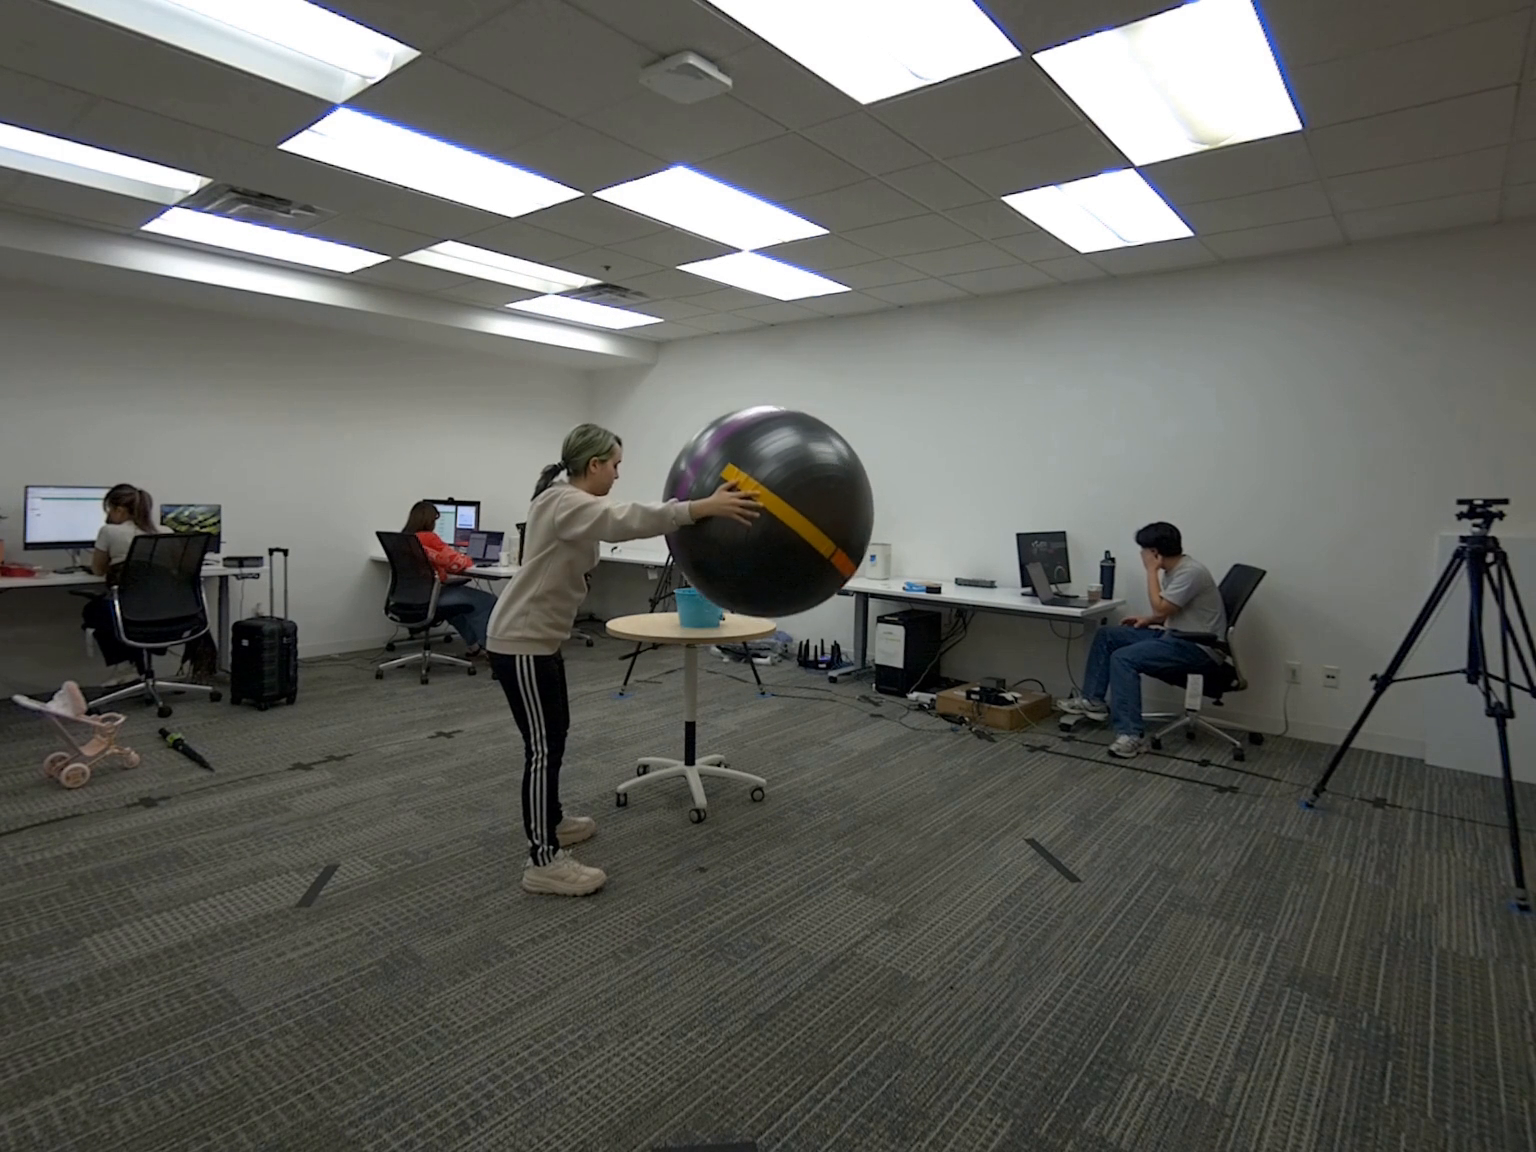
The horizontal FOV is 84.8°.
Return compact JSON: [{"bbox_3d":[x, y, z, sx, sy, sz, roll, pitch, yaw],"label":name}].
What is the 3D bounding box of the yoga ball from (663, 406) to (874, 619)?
[{"bbox_3d":[-0.013,-0.224,3.047,0.757,0.756,0.761,1,4,-2],"label":"yoga ball"}]
